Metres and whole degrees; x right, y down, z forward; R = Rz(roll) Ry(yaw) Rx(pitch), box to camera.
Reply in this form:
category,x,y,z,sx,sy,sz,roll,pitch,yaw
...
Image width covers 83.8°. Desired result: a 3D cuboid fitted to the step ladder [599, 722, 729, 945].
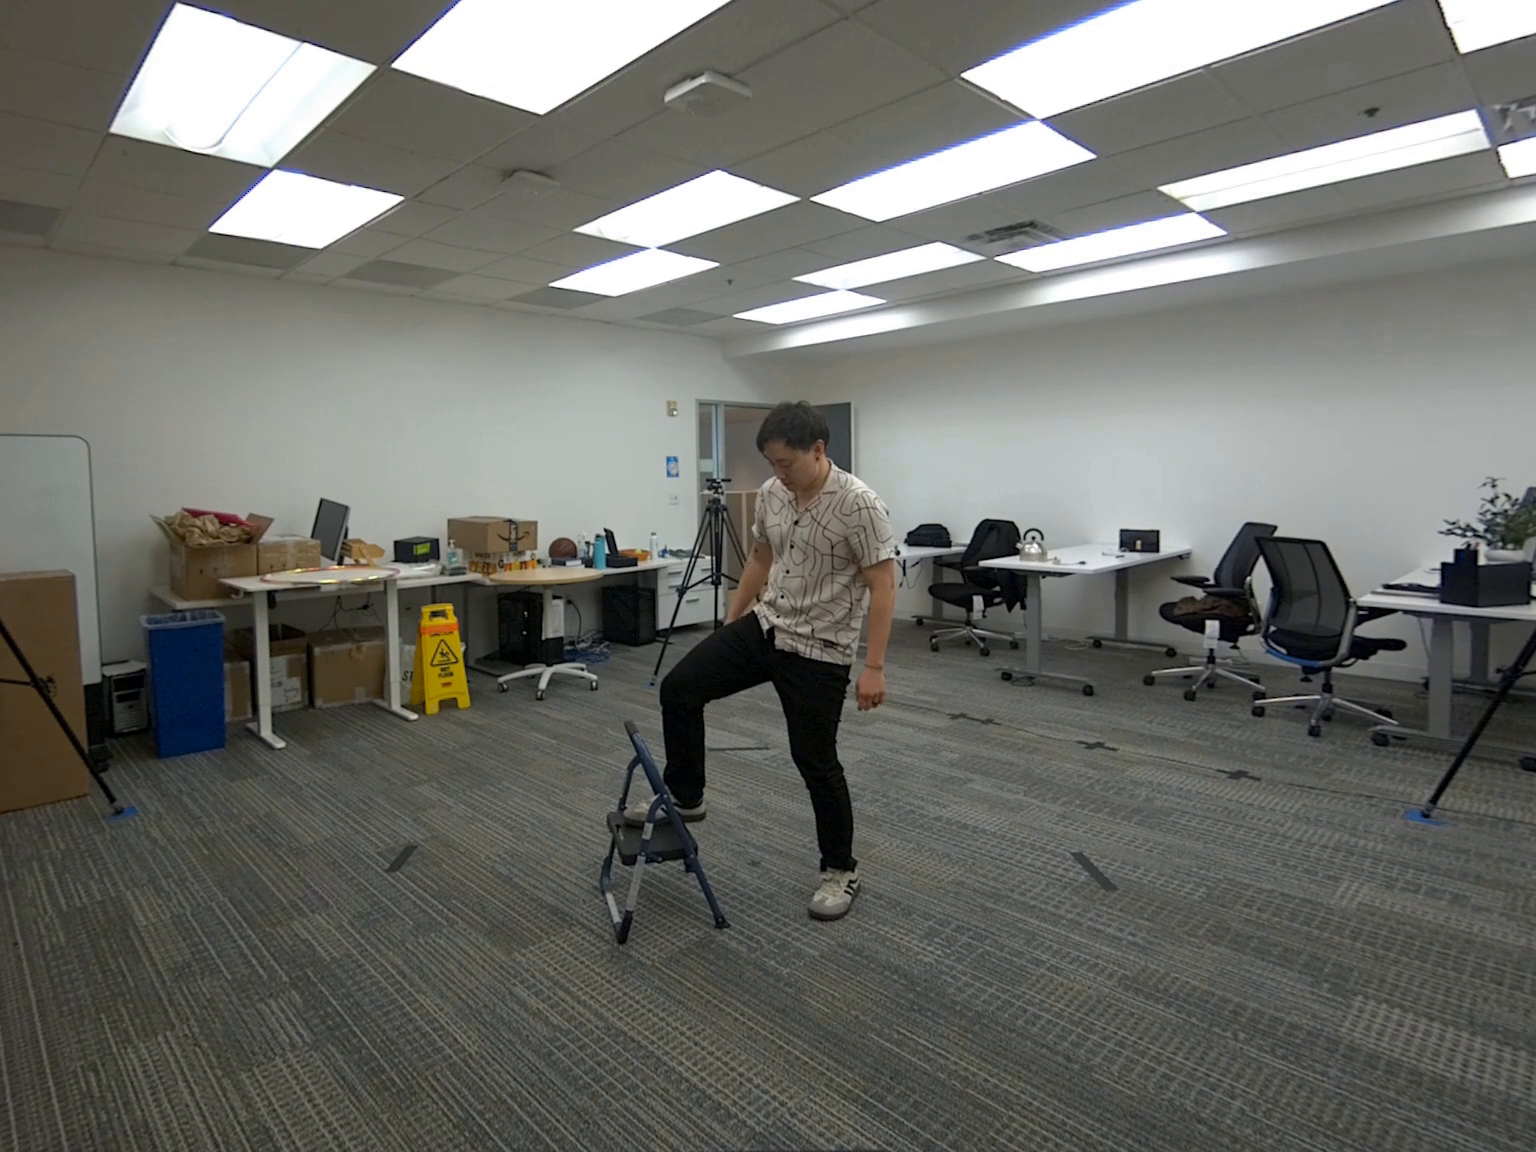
category,x,y,z,sx,sy,sz,roll,pitch,yaw
step ladder,-0.359,0.783,2.802,0.344,0.603,0.439,-3,5,-19
